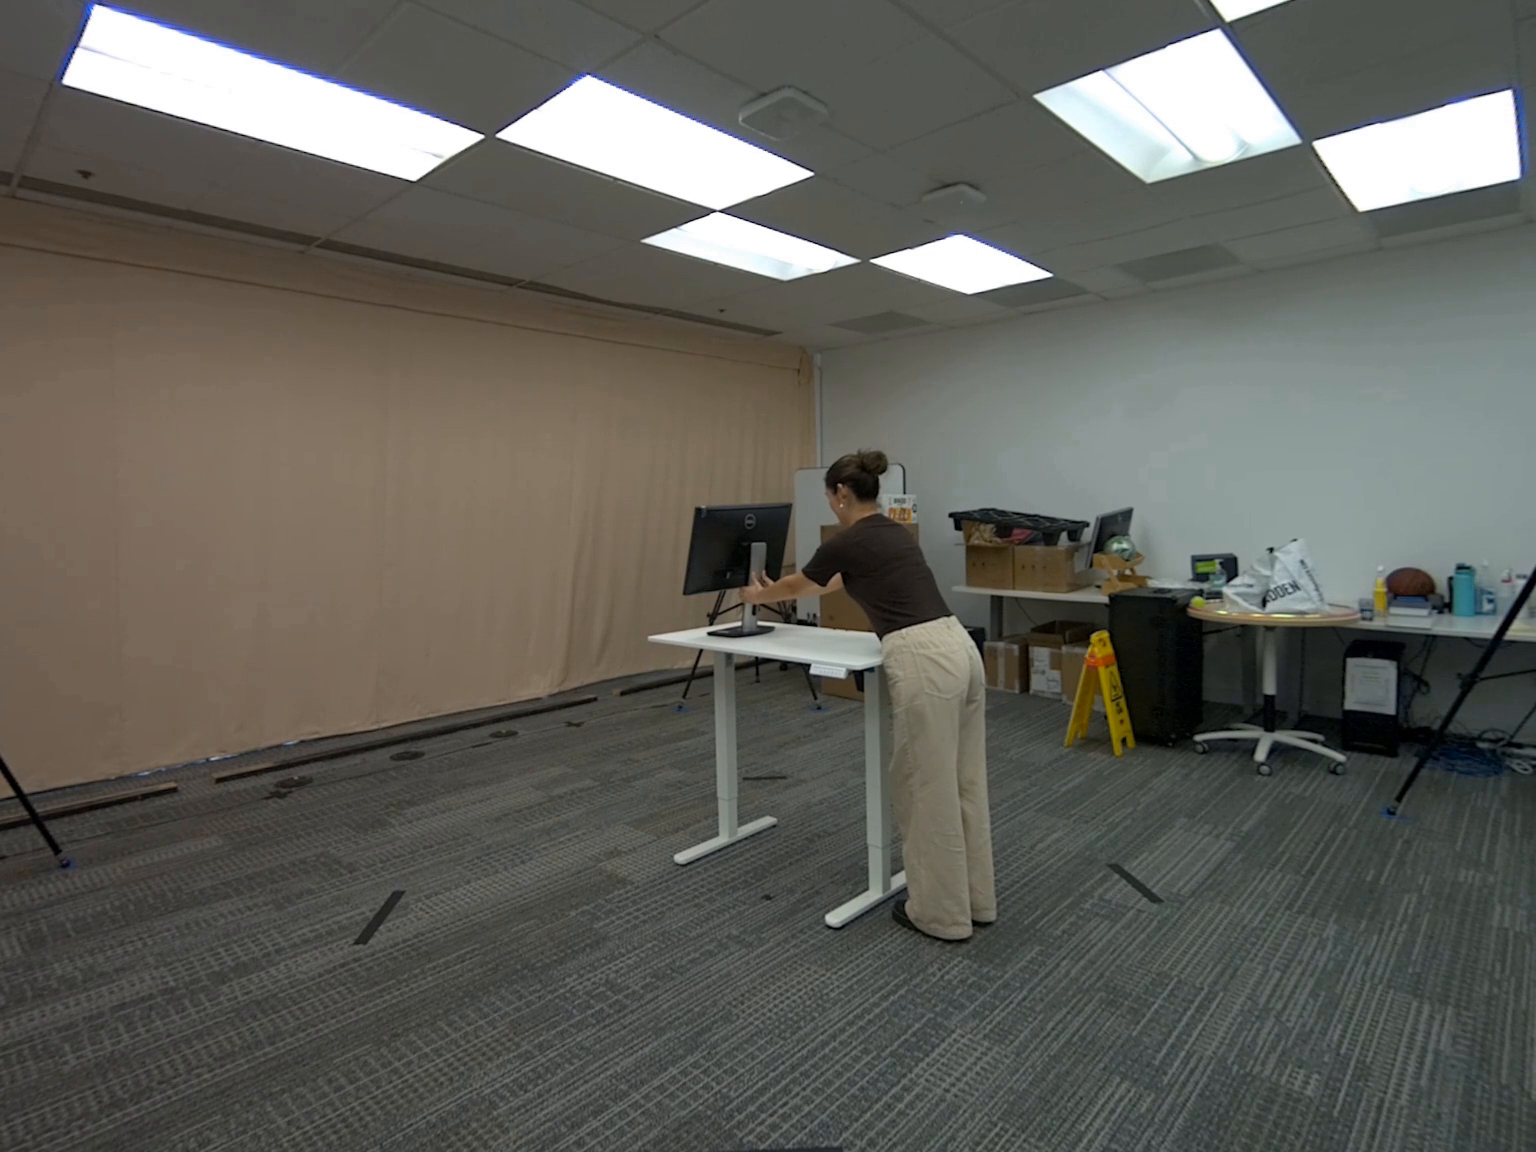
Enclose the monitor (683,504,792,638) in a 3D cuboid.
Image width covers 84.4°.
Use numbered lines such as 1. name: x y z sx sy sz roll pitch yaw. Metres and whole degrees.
1. monitor: -0.092 -0.023 3.357 0.193 0.521 0.523 5 8 43
